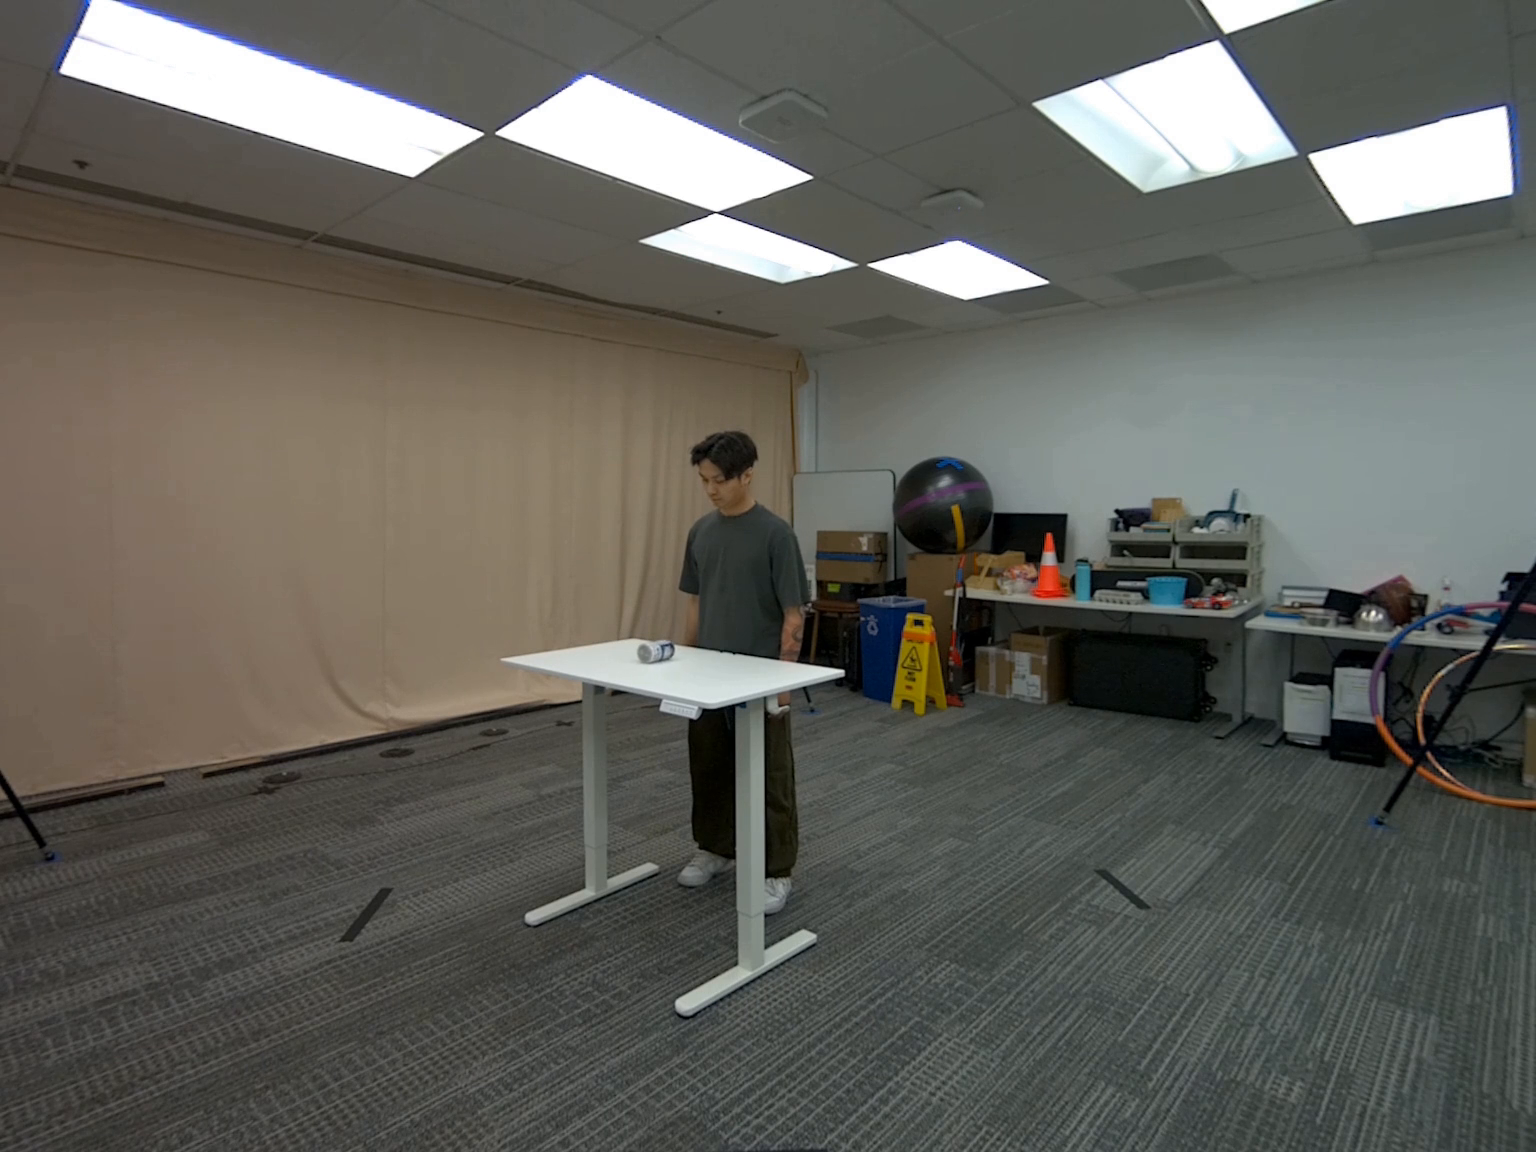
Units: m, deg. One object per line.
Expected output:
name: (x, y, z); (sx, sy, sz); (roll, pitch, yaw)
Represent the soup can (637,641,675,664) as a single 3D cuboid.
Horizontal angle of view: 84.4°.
soup can: (-0.374, 0.250, 2.777); (0.069, 0.067, 0.118); (3, 4, 38)
